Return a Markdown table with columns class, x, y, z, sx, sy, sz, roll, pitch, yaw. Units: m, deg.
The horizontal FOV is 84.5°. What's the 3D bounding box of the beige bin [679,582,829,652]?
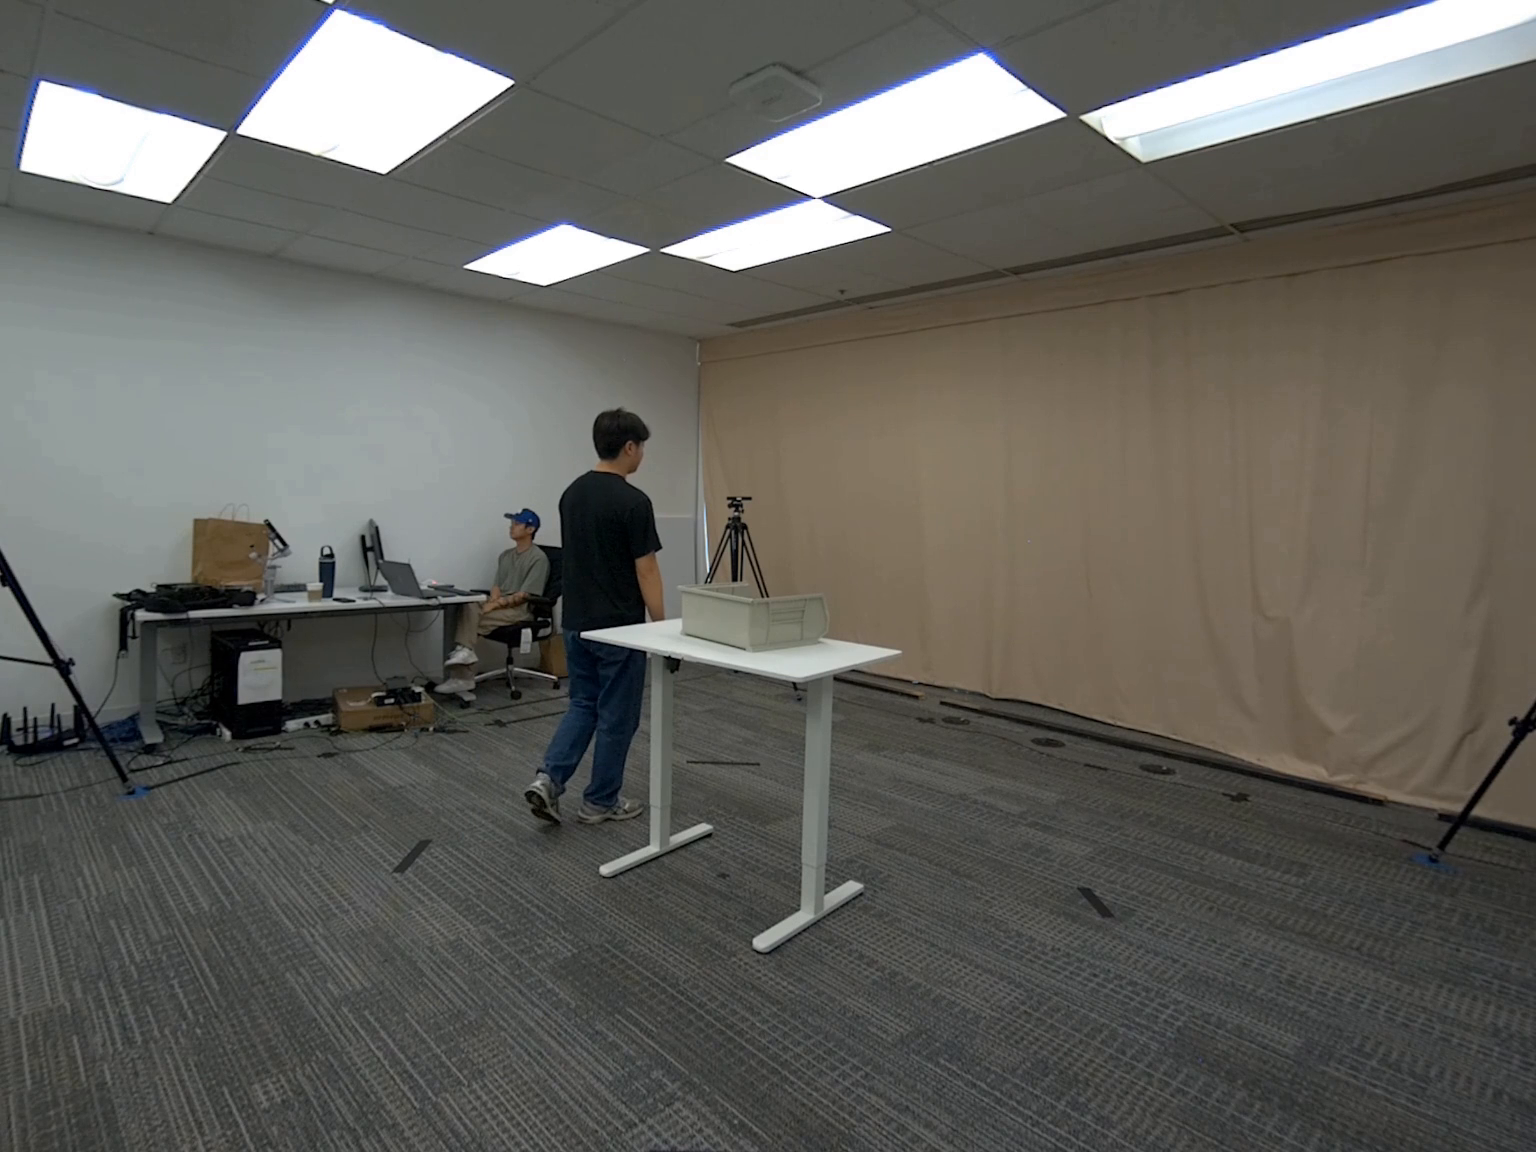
| class | x | y | z | sx | sy | sz | roll | pitch | yaw |
| --- | --- | --- | --- | --- | --- | --- | --- | --- | --- |
| beige bin | -0.060 | 0.141 | 3.055 | 0.369 | 0.188 | 0.433 | -5 | 8 | -40 |
